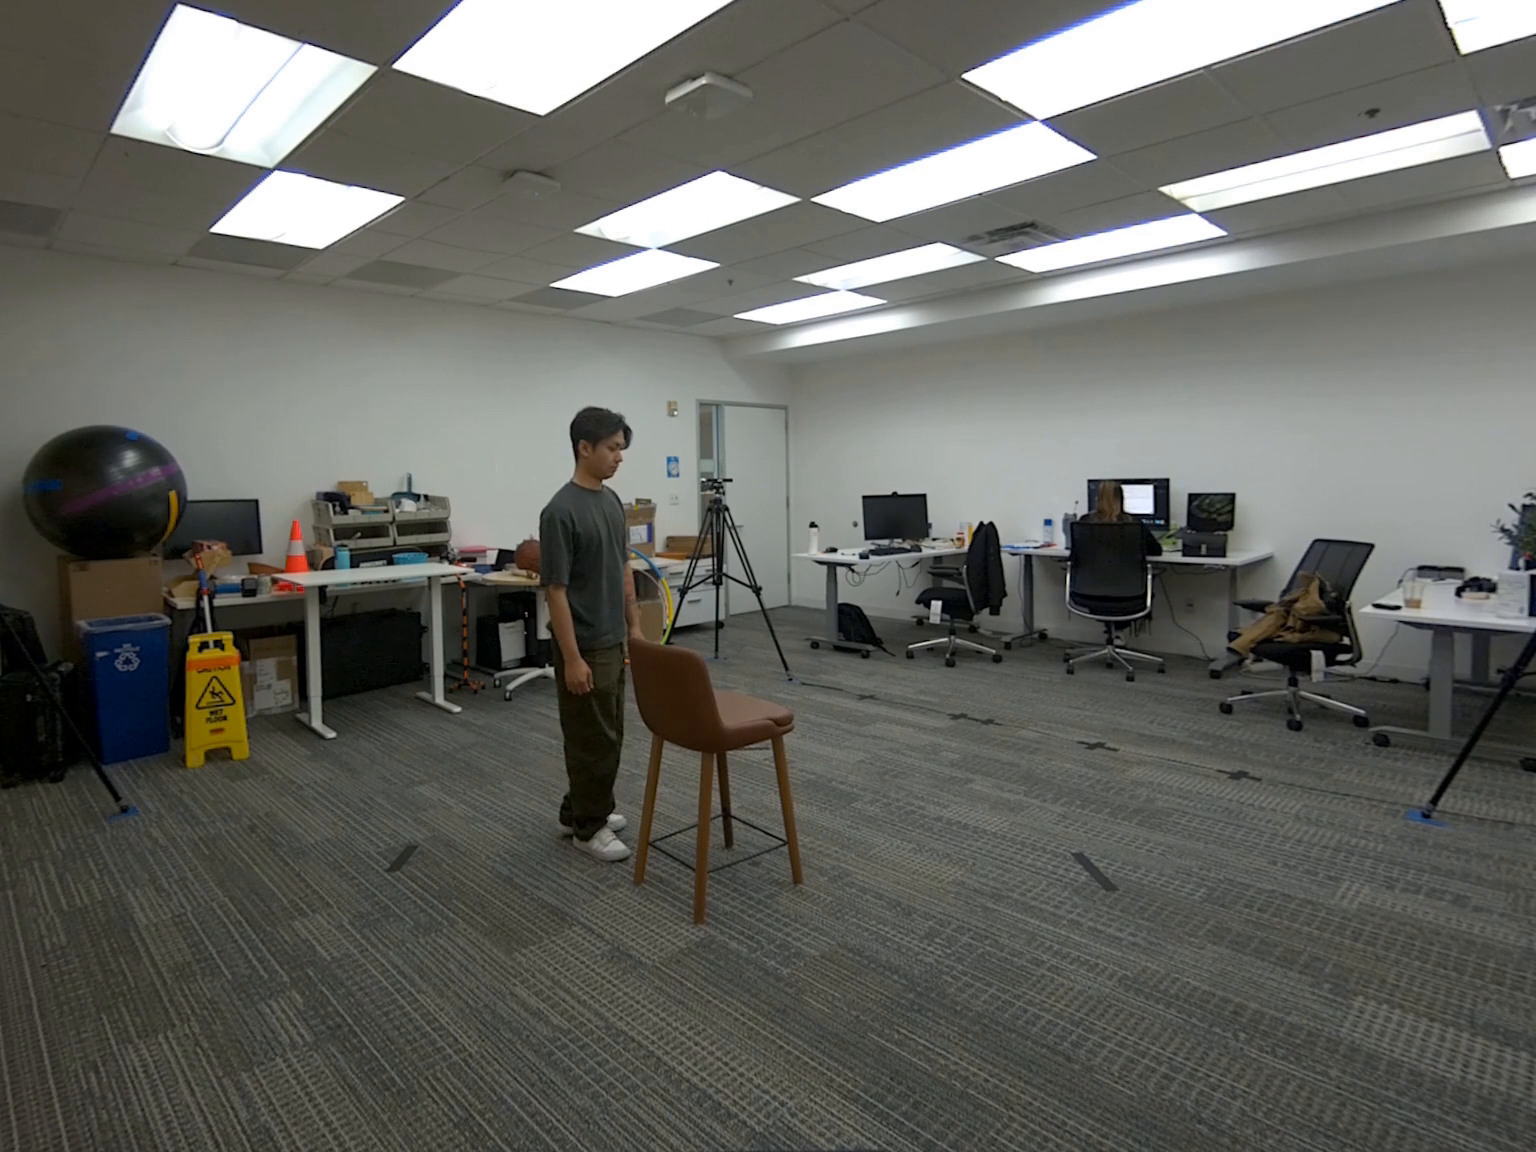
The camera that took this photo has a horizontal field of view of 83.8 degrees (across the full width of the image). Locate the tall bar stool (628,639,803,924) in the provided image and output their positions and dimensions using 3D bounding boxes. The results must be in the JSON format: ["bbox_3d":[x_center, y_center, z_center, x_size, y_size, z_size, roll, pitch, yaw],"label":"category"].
[{"bbox_3d":[-0.182,0.634,2.934,0.456,0.885,0.470,-6,7,-39],"label":"tall bar stool"}]
